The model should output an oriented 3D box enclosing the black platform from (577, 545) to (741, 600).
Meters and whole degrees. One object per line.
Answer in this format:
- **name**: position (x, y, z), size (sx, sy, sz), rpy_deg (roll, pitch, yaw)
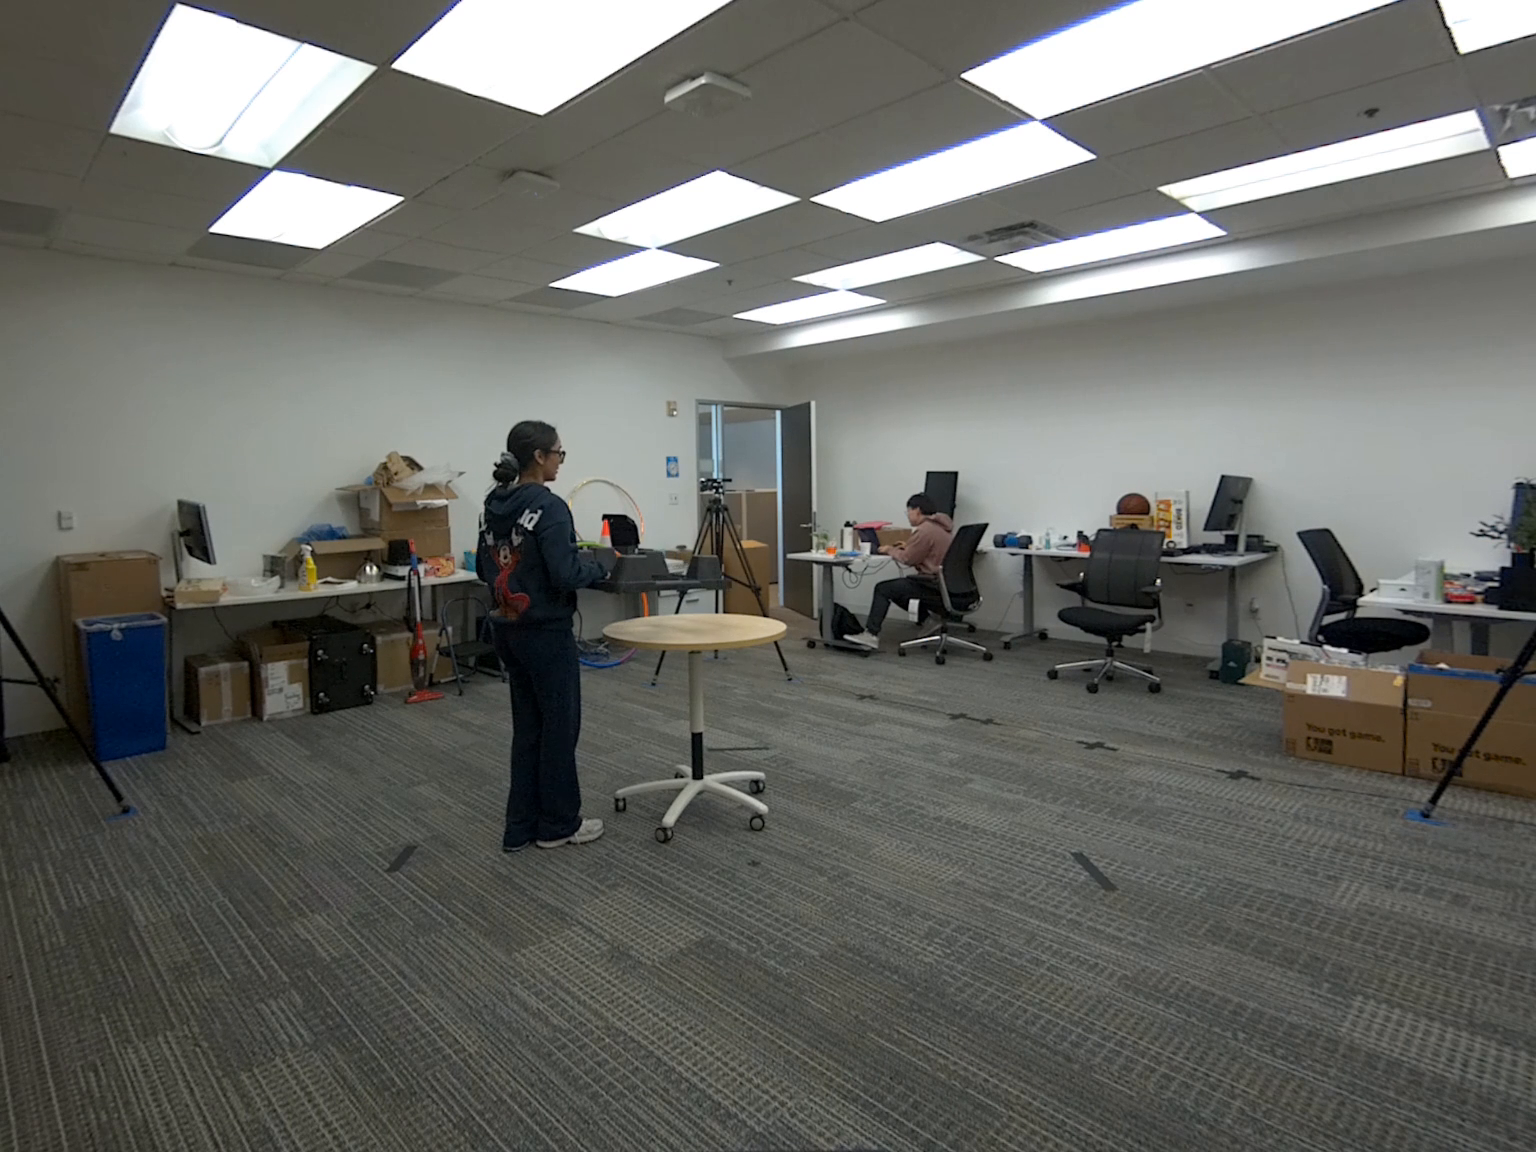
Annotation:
- **black platform**: position (-0.619, -0.032, 3.535), size (0.831, 0.143, 0.588), rpy_deg (6, 6, 43)
